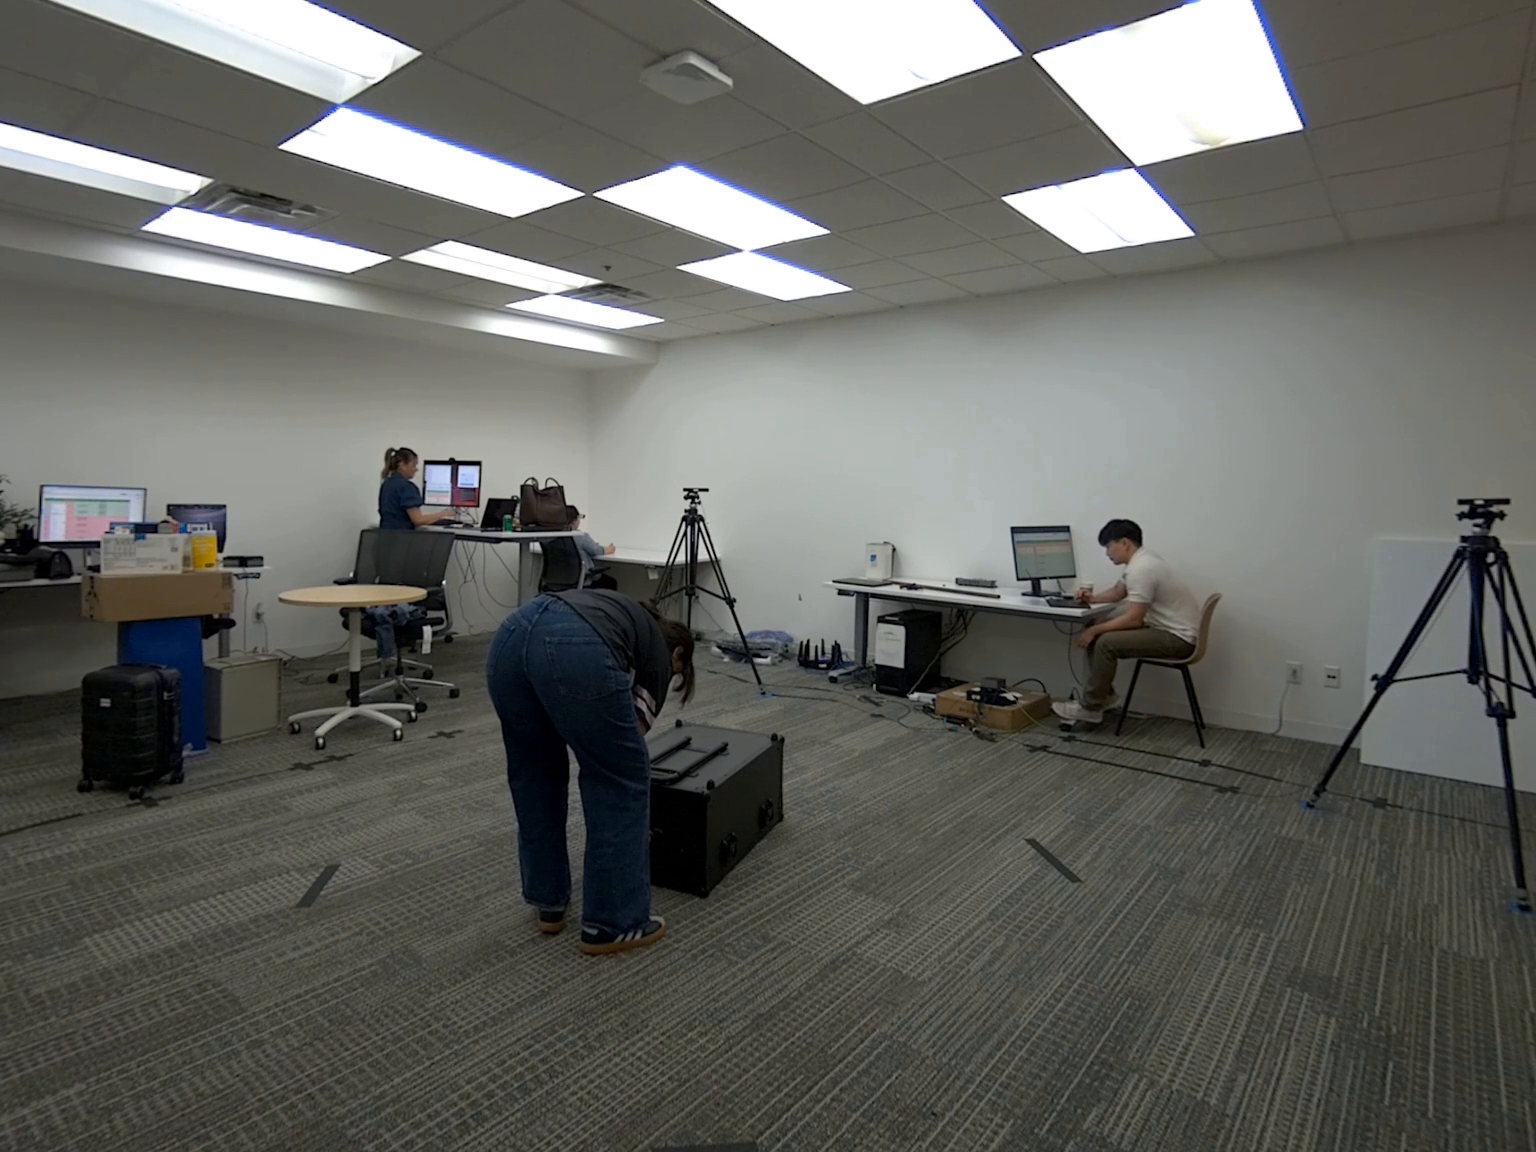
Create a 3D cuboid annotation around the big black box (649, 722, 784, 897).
[{"bbox_3d":[-0.293,0.846,3.361,0.533,0.395,0.844,2,5,21],"label":"big black box"}]
